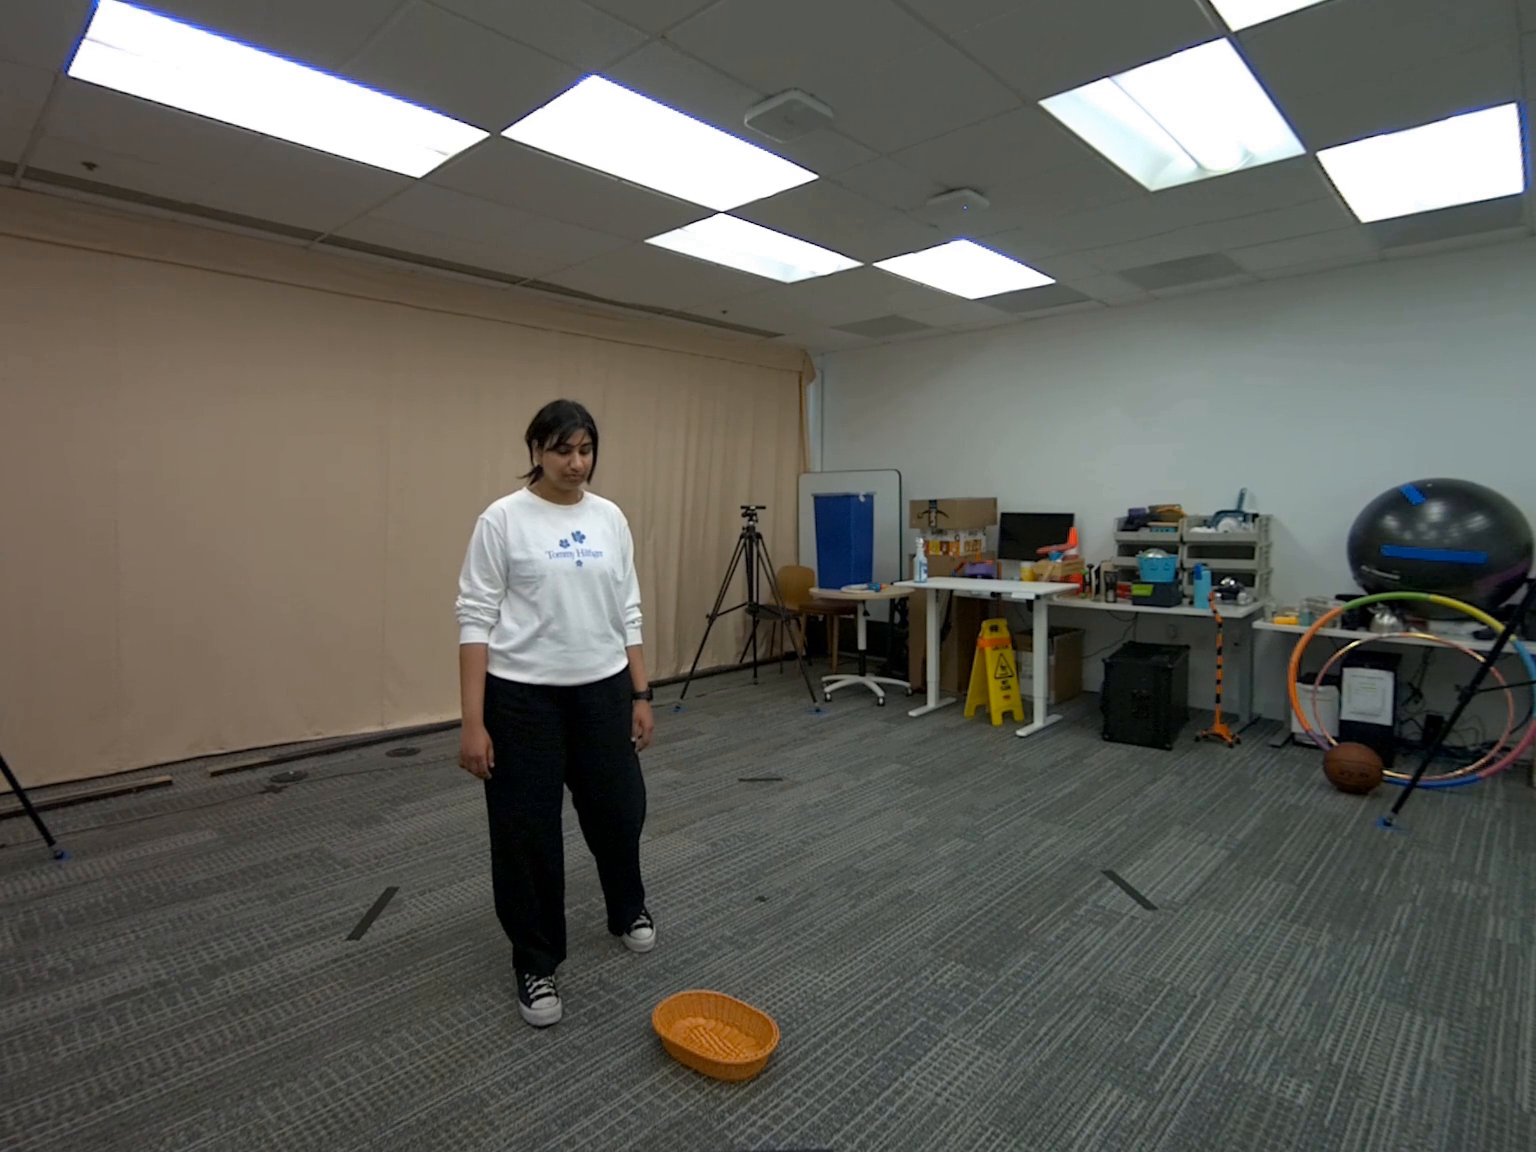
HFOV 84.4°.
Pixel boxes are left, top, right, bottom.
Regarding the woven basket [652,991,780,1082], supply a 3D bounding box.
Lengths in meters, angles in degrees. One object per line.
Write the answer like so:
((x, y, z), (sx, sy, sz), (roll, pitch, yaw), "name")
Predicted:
((-0.129, 1.173, 2.154), (0.362, 0.073, 0.245), (3, 5, 37), "woven basket")
